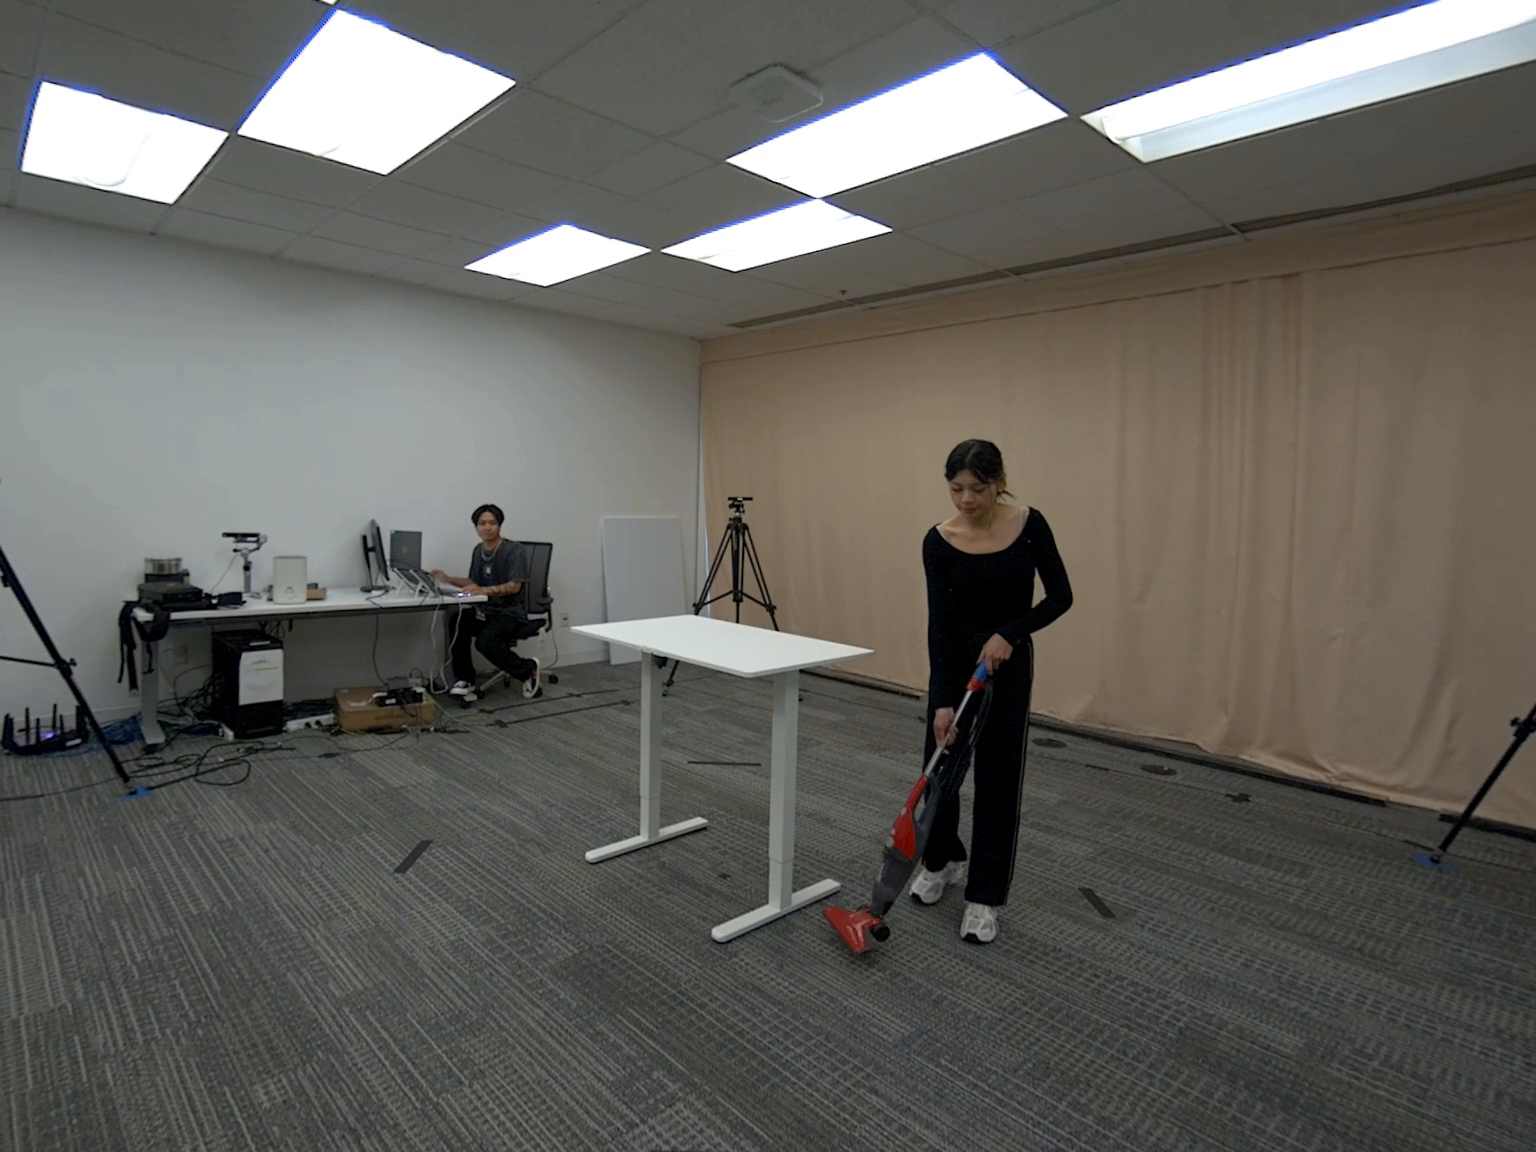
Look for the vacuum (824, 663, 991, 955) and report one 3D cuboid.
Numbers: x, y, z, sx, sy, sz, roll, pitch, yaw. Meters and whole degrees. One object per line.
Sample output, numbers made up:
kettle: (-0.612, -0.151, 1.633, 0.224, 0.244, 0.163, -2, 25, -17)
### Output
vacuum: (0.517, 0.649, 2.634, 0.141, 1.050, 0.258, 29, -3, -25)
